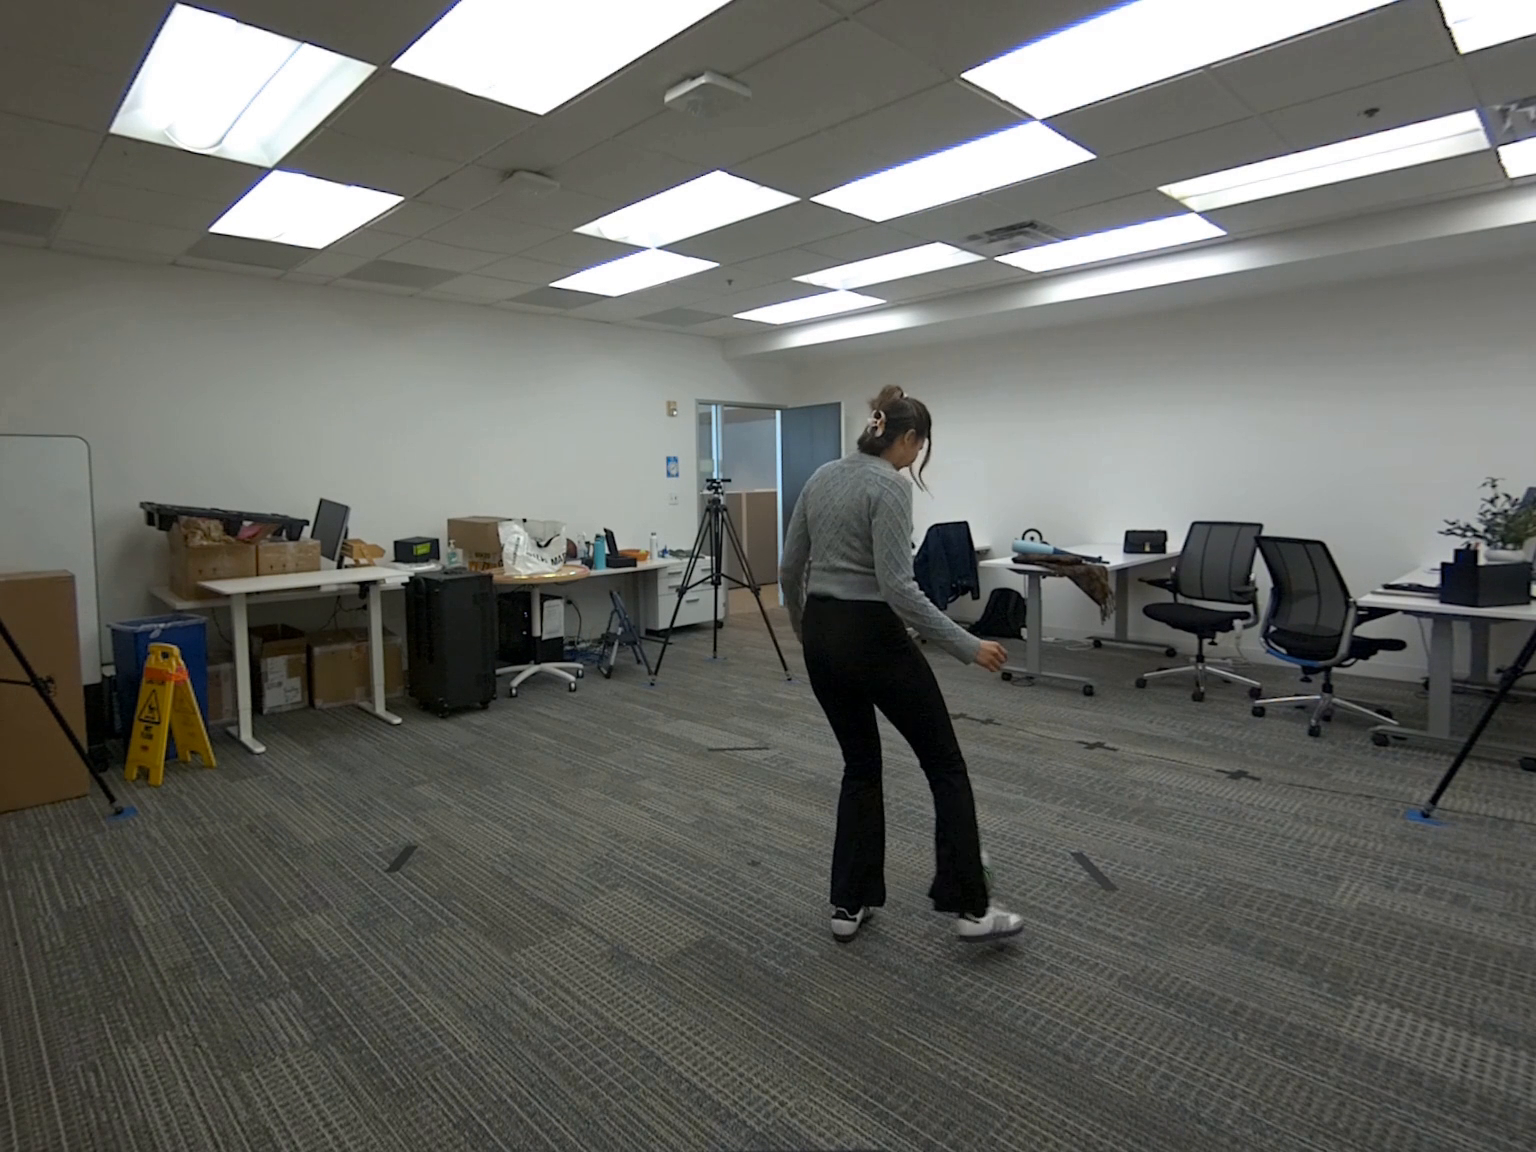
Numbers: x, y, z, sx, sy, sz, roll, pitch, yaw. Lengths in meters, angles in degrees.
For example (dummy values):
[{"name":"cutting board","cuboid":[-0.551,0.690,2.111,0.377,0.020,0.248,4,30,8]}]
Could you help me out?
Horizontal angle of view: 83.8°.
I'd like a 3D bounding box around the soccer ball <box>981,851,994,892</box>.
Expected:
[{"name":"soccer ball","cuboid":[0.652,0.973,2.821,0.187,0.187,0.188,-1,5,-2]}]
